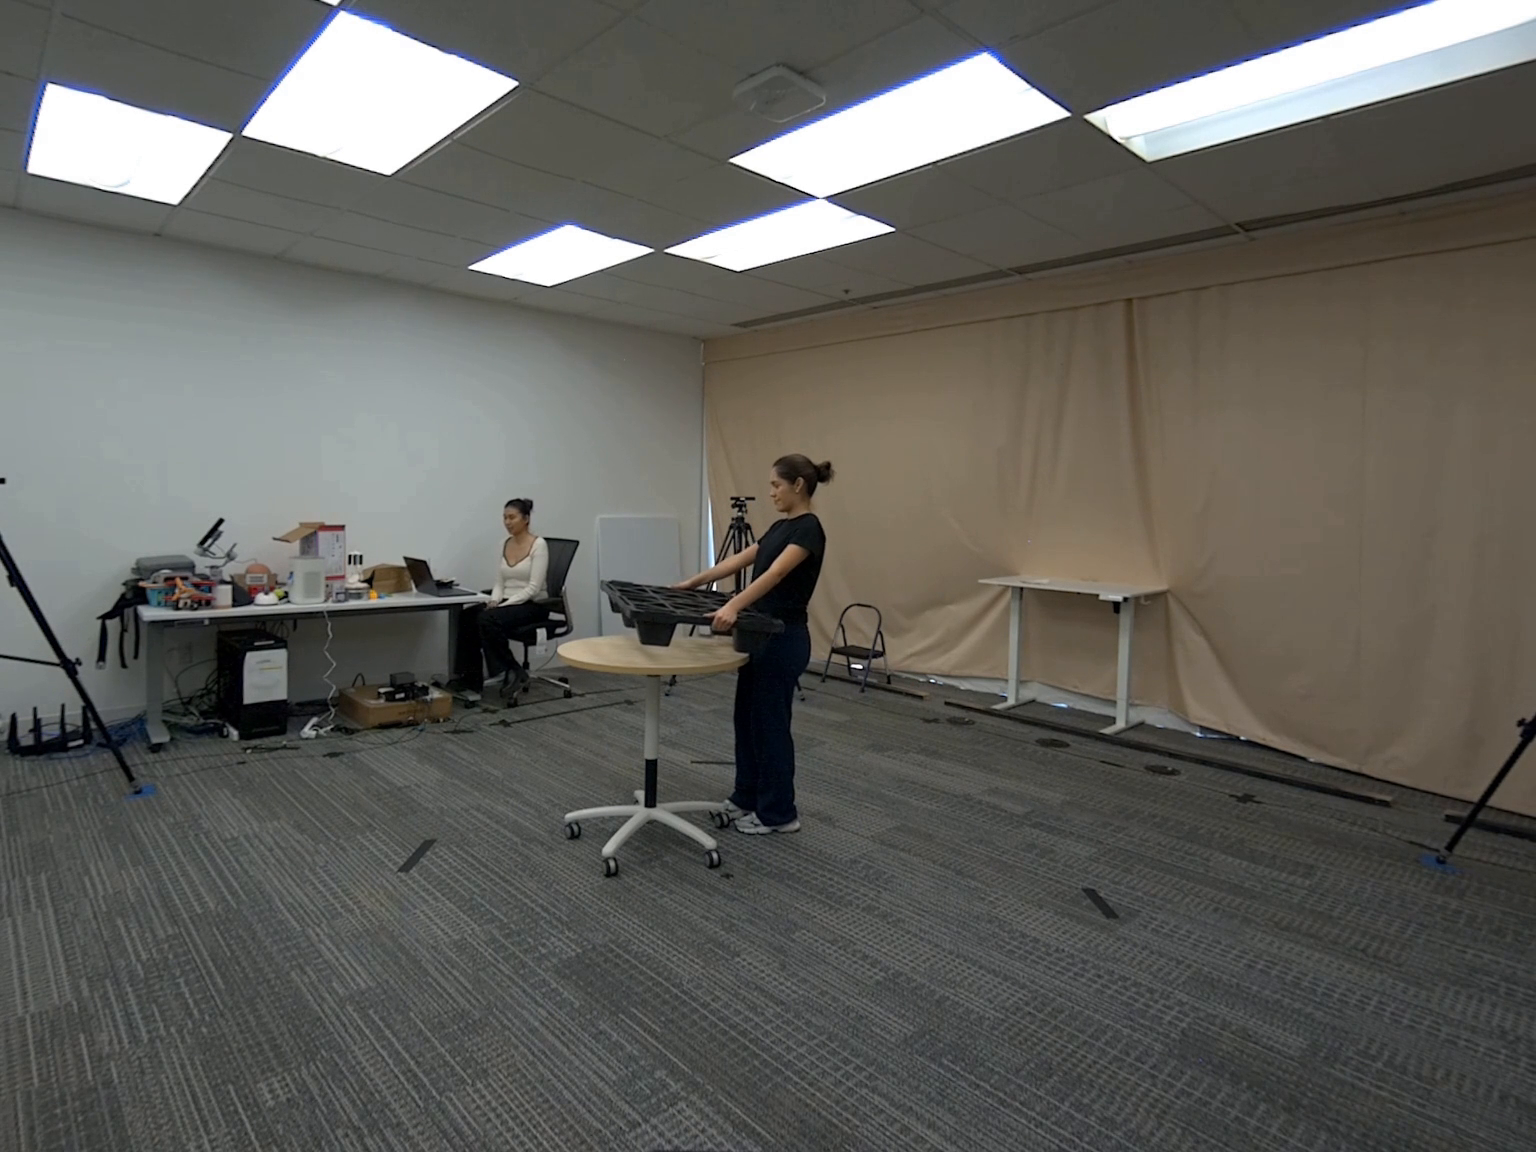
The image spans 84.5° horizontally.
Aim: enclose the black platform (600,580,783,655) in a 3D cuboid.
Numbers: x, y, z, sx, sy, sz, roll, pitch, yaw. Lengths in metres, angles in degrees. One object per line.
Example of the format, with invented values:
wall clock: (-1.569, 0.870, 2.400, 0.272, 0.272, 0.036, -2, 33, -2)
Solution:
black platform: (-0.347, 0.166, 3.464, 0.596, 0.143, 0.820, 7, 5, -19)
